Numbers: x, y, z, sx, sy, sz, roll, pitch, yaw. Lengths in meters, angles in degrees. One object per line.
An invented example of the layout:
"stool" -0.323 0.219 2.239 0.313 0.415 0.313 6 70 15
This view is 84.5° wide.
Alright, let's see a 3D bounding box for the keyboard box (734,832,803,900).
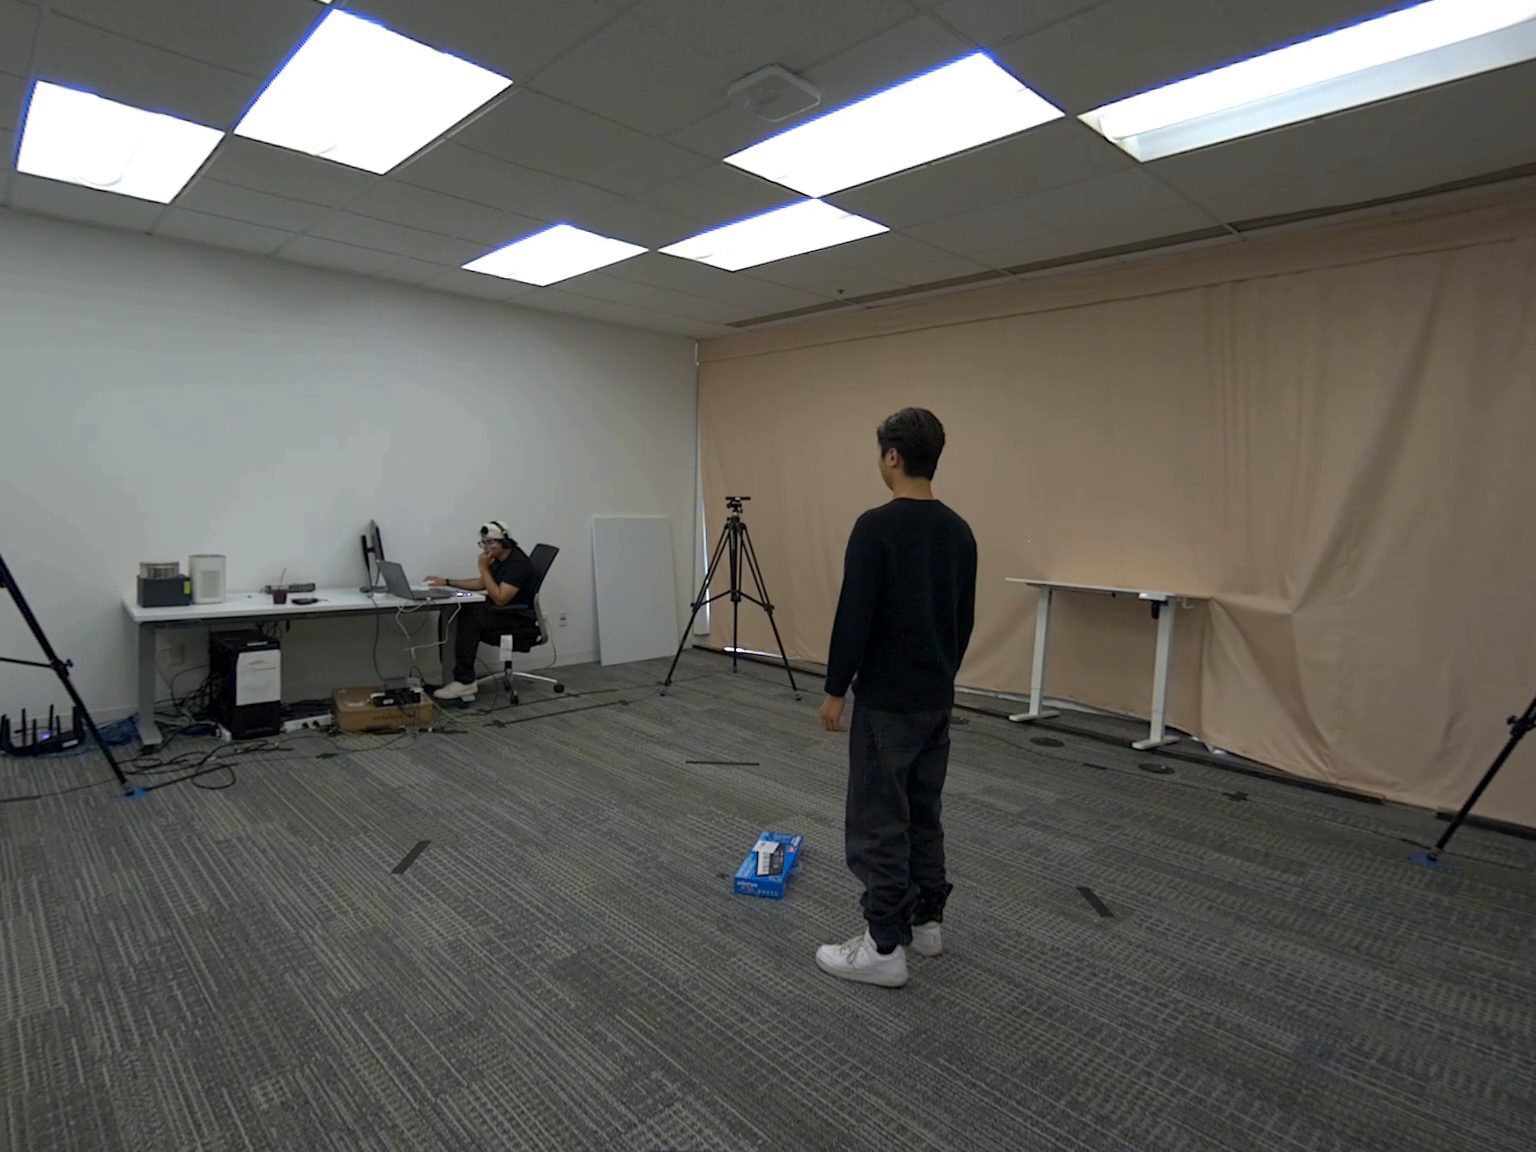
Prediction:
"keyboard box" 0.002 1.074 3.151 0.178 0.059 0.433 2 5 13
